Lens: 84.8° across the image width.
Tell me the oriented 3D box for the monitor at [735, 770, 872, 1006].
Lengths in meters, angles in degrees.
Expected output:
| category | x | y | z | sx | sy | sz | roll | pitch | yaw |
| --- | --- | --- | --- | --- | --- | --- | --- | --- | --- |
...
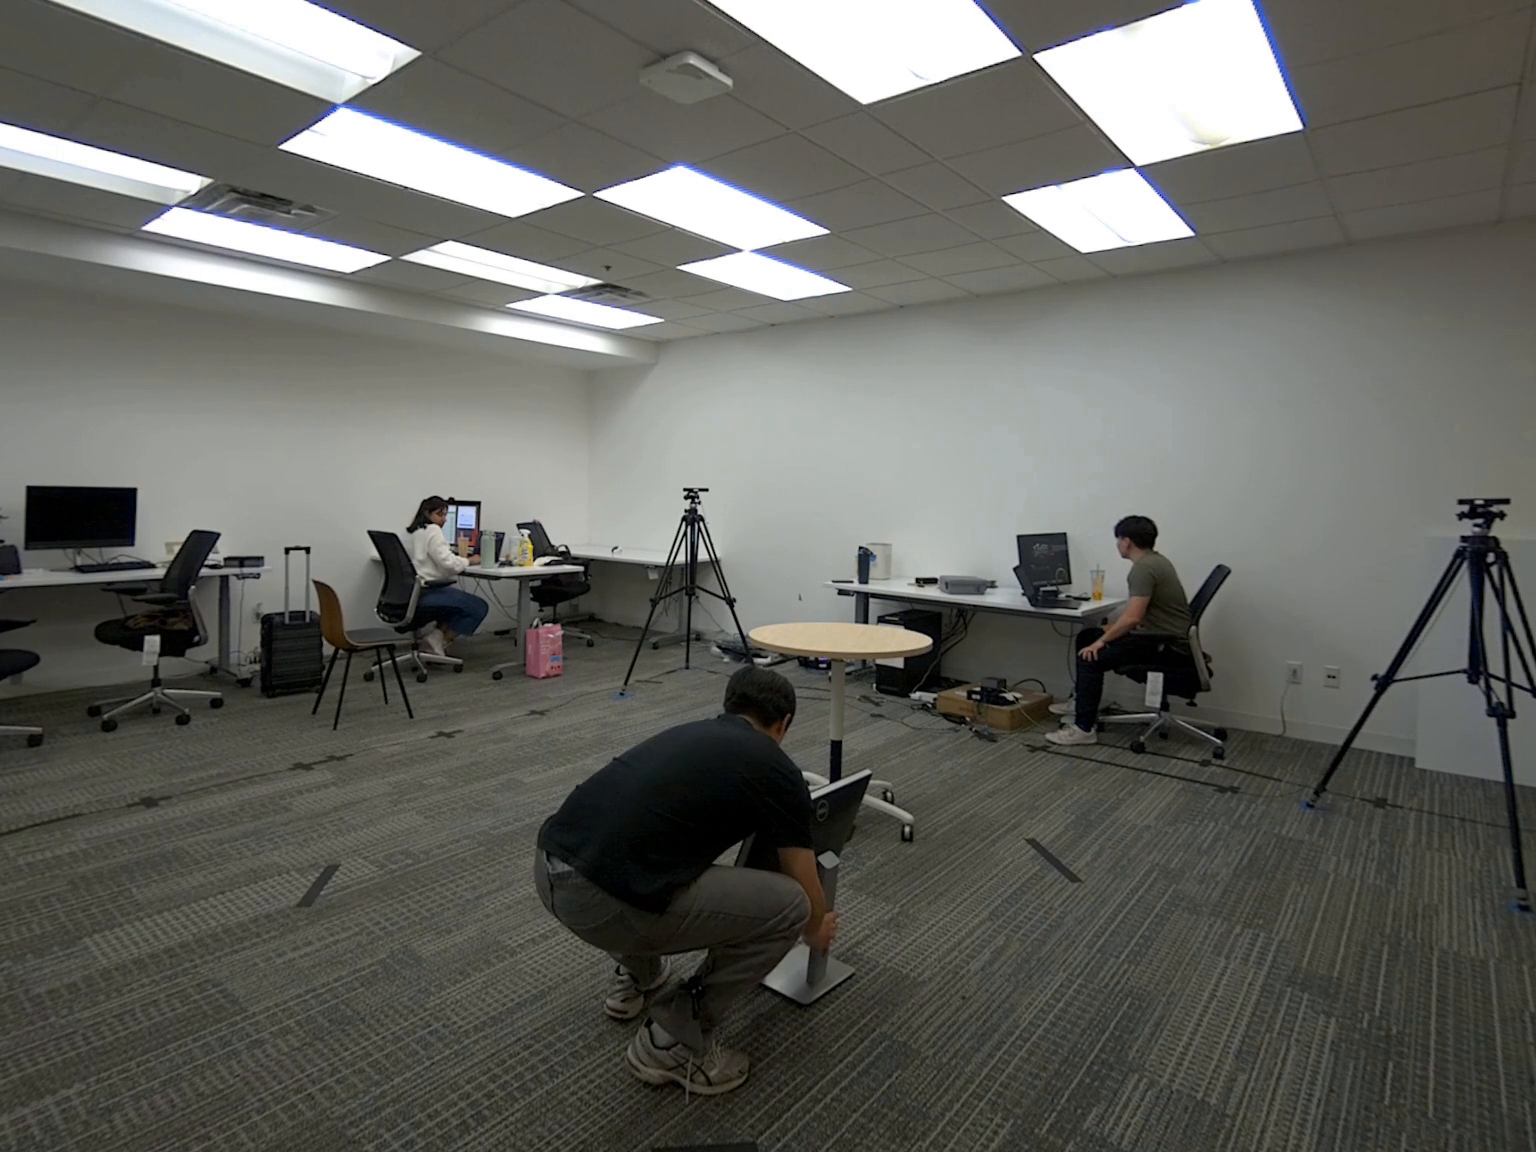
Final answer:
| category | x | y | z | sx | sy | sz | roll | pitch | yaw |
| --- | --- | --- | --- | --- | --- | --- | --- | --- | --- |
| monitor | 0.103 | 0.884 | 2.420 | 0.230 | 0.564 | 0.545 | 5 | 6 | 39 |
